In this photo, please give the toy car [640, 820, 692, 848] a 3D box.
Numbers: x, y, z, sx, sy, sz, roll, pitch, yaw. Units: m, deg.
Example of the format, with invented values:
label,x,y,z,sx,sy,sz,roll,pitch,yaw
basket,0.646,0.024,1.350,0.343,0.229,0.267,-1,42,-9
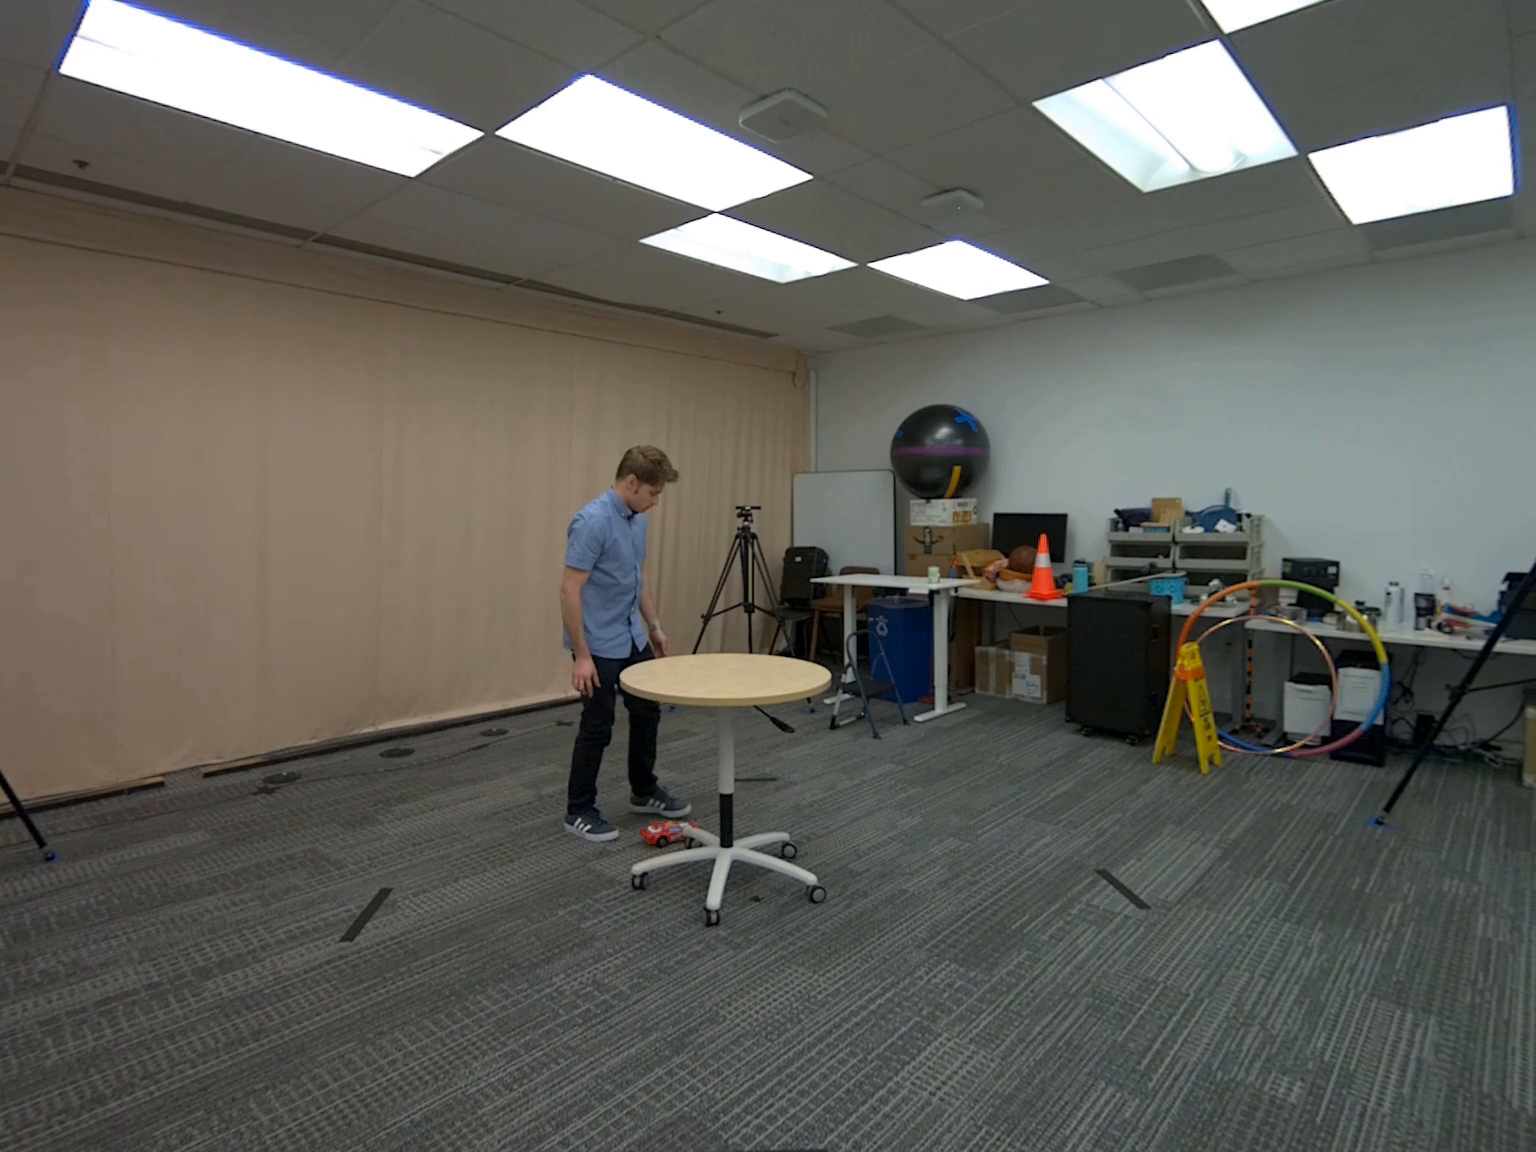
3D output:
label,x,y,z,sx,sy,sz,roll,pitch,yaw
toy car,-0.422,1.075,3.509,0.247,0.083,0.134,10,-2,-27
